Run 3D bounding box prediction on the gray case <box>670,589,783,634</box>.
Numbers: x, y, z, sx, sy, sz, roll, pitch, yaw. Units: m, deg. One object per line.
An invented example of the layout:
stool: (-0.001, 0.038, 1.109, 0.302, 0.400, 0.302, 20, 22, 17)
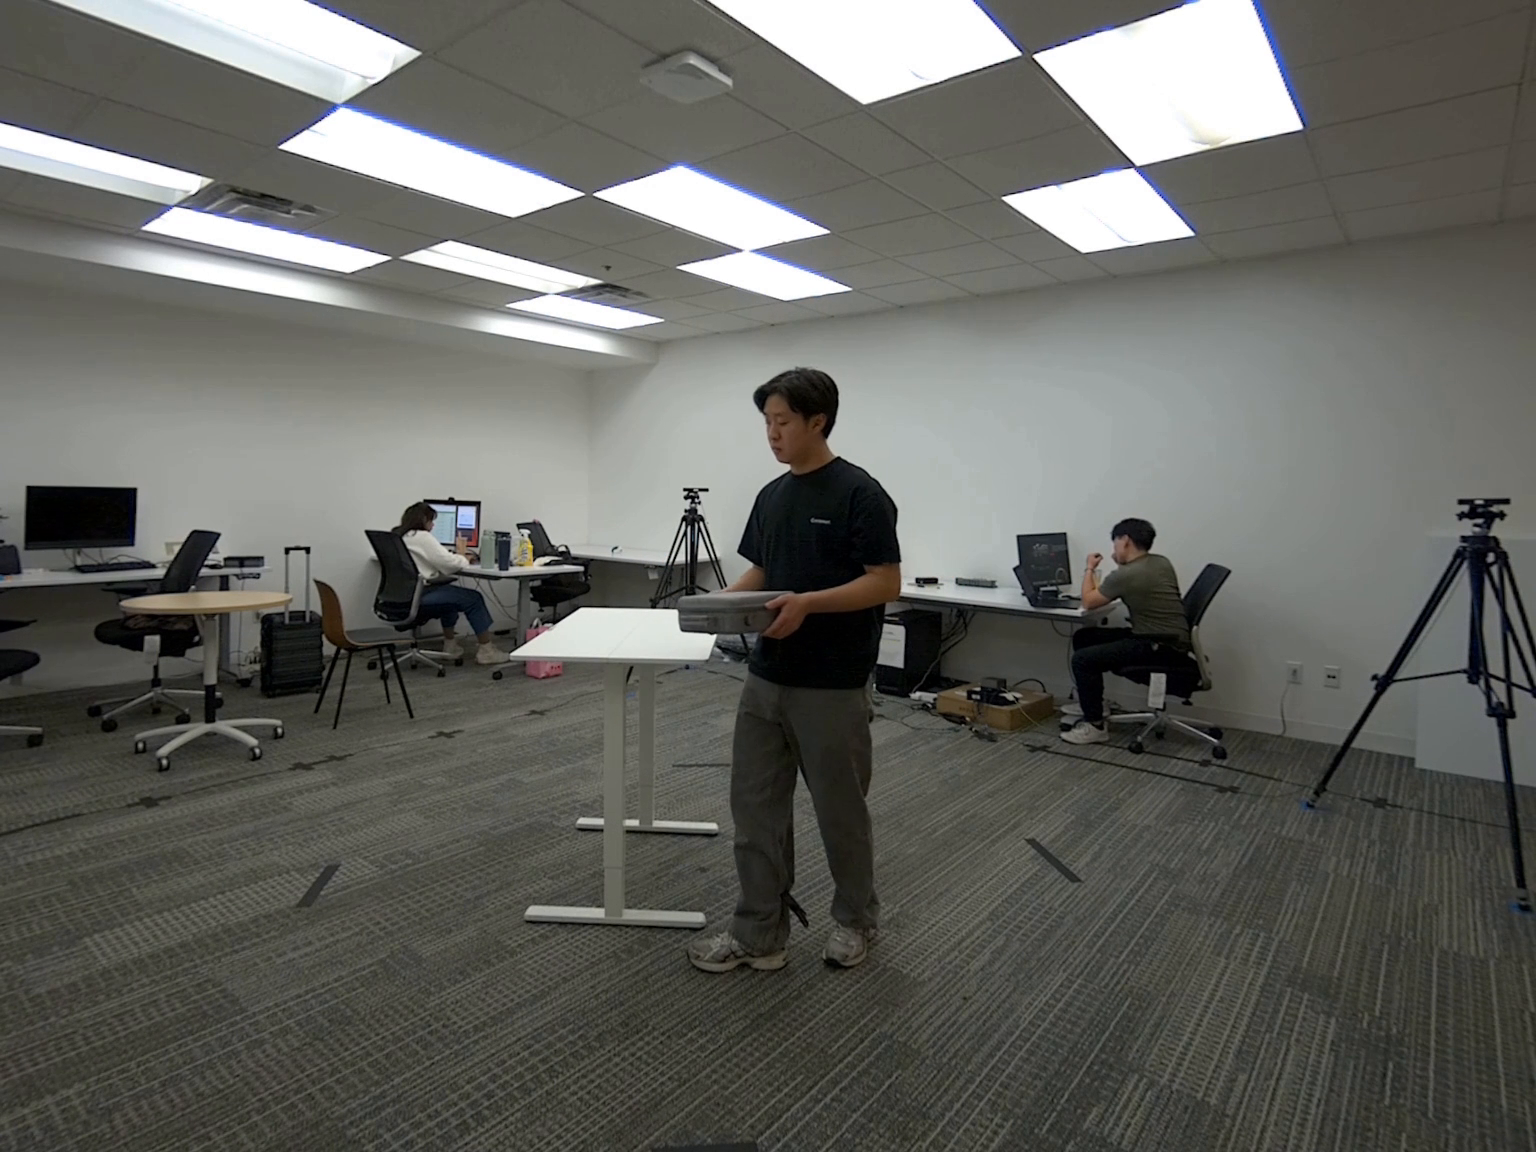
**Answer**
gray case: (-0.084, 0.092, 2.357, 0.255, 0.103, 0.296, -3, 1, -40)
